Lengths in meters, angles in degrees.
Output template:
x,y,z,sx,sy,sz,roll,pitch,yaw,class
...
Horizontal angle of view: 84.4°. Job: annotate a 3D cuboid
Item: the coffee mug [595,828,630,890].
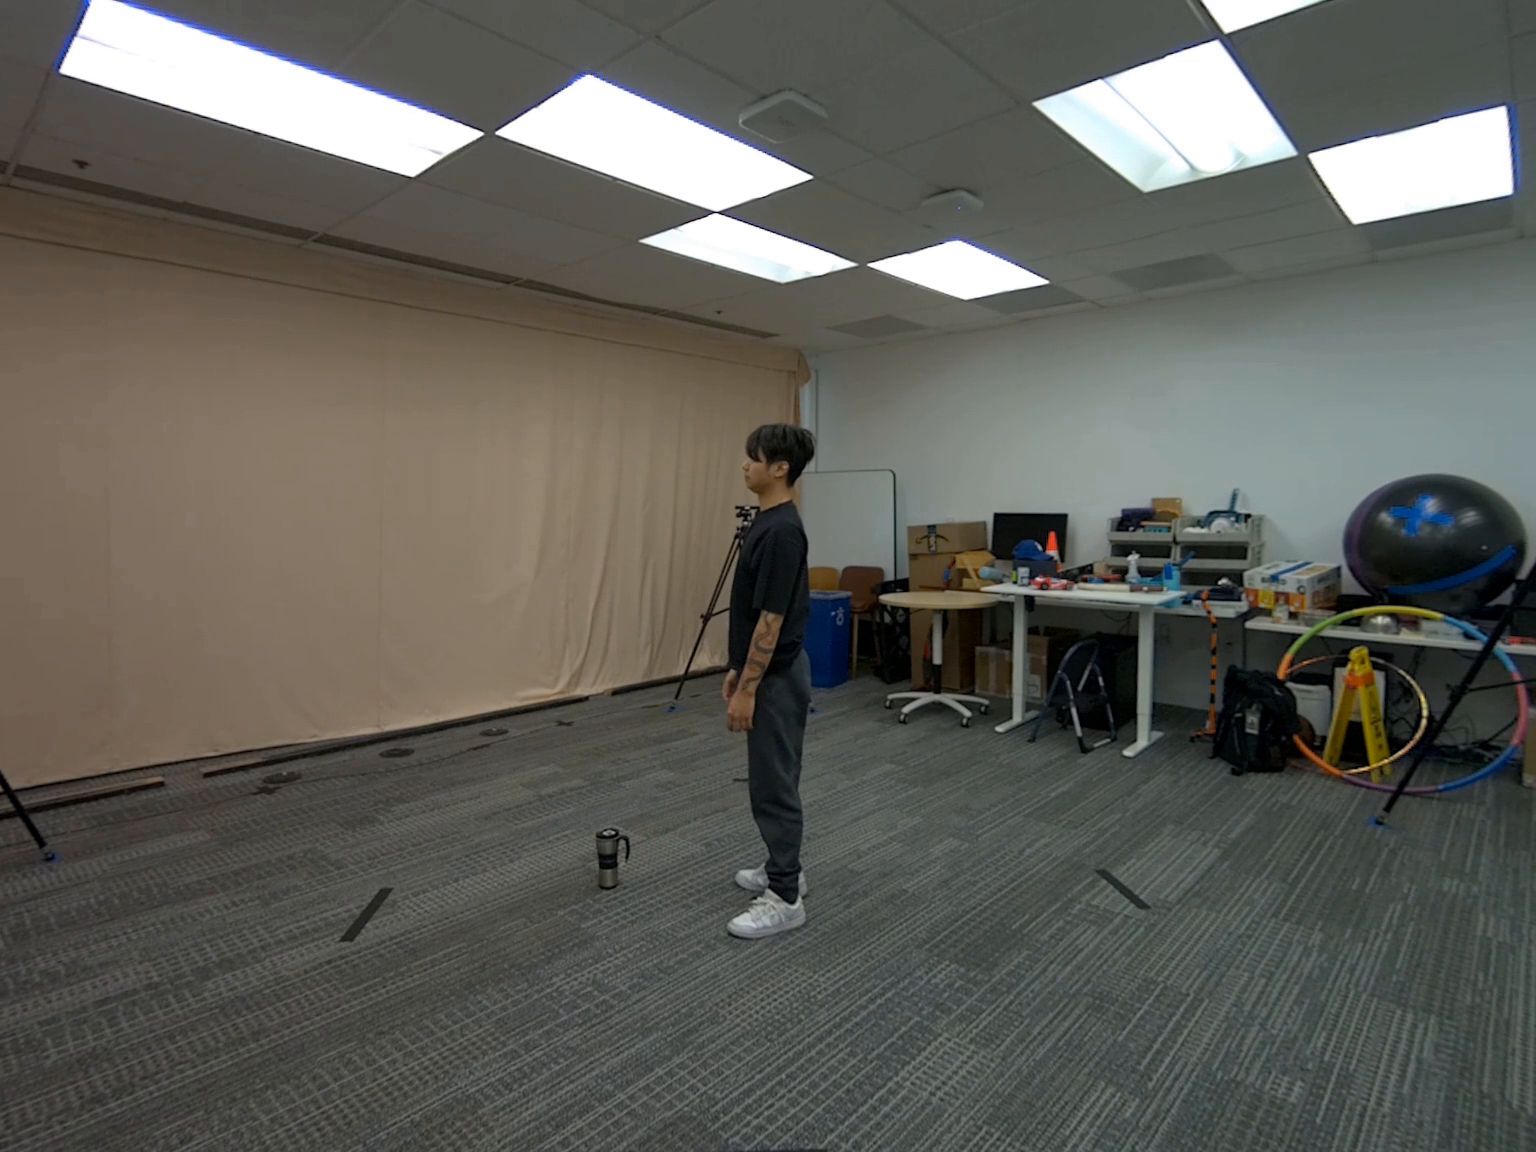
x,y,z,sx,sy,sz,roll,pitch,yaw,class
-0.576,1.043,3.077,0.126,0.203,0.085,-1,-1,38,coffee mug
